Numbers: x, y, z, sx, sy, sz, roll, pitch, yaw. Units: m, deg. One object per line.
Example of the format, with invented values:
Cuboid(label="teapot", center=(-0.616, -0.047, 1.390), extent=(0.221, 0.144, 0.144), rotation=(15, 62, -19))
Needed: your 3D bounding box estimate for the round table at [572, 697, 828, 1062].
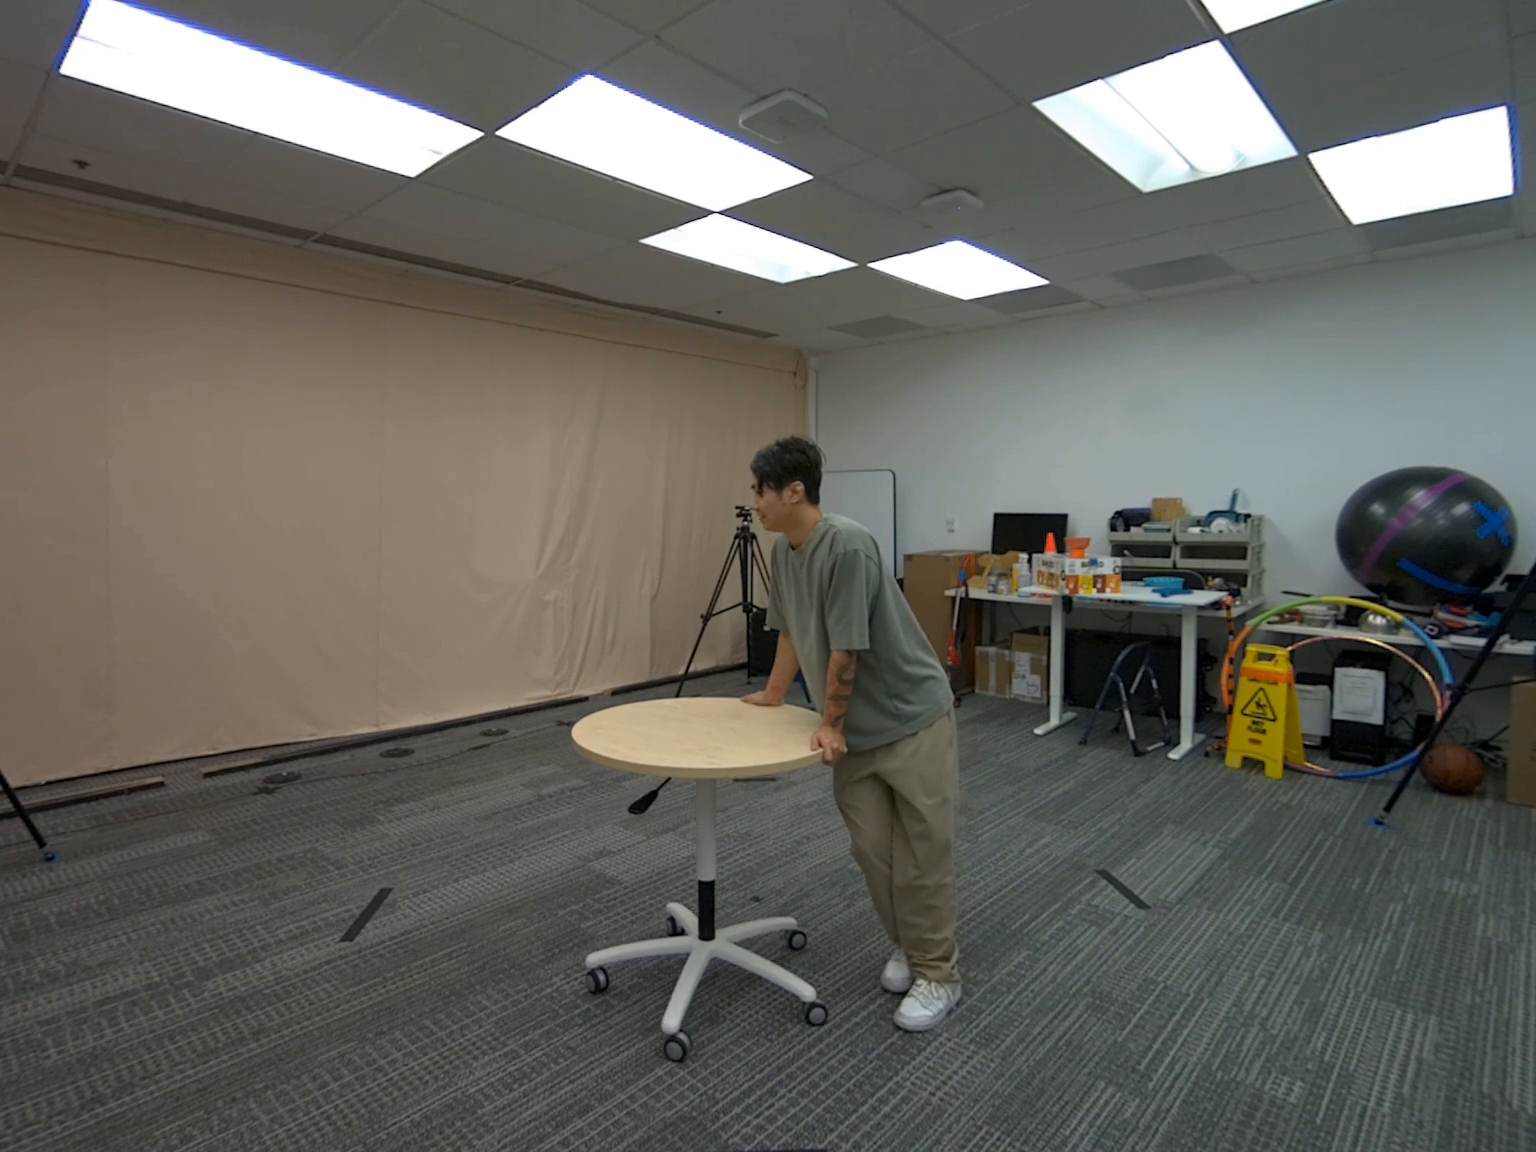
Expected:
Cuboid(label="round table", center=(-0.171, 0.812, 2.451), extent=(0.784, 0.784, 0.788), rotation=(0, 4, -2))
